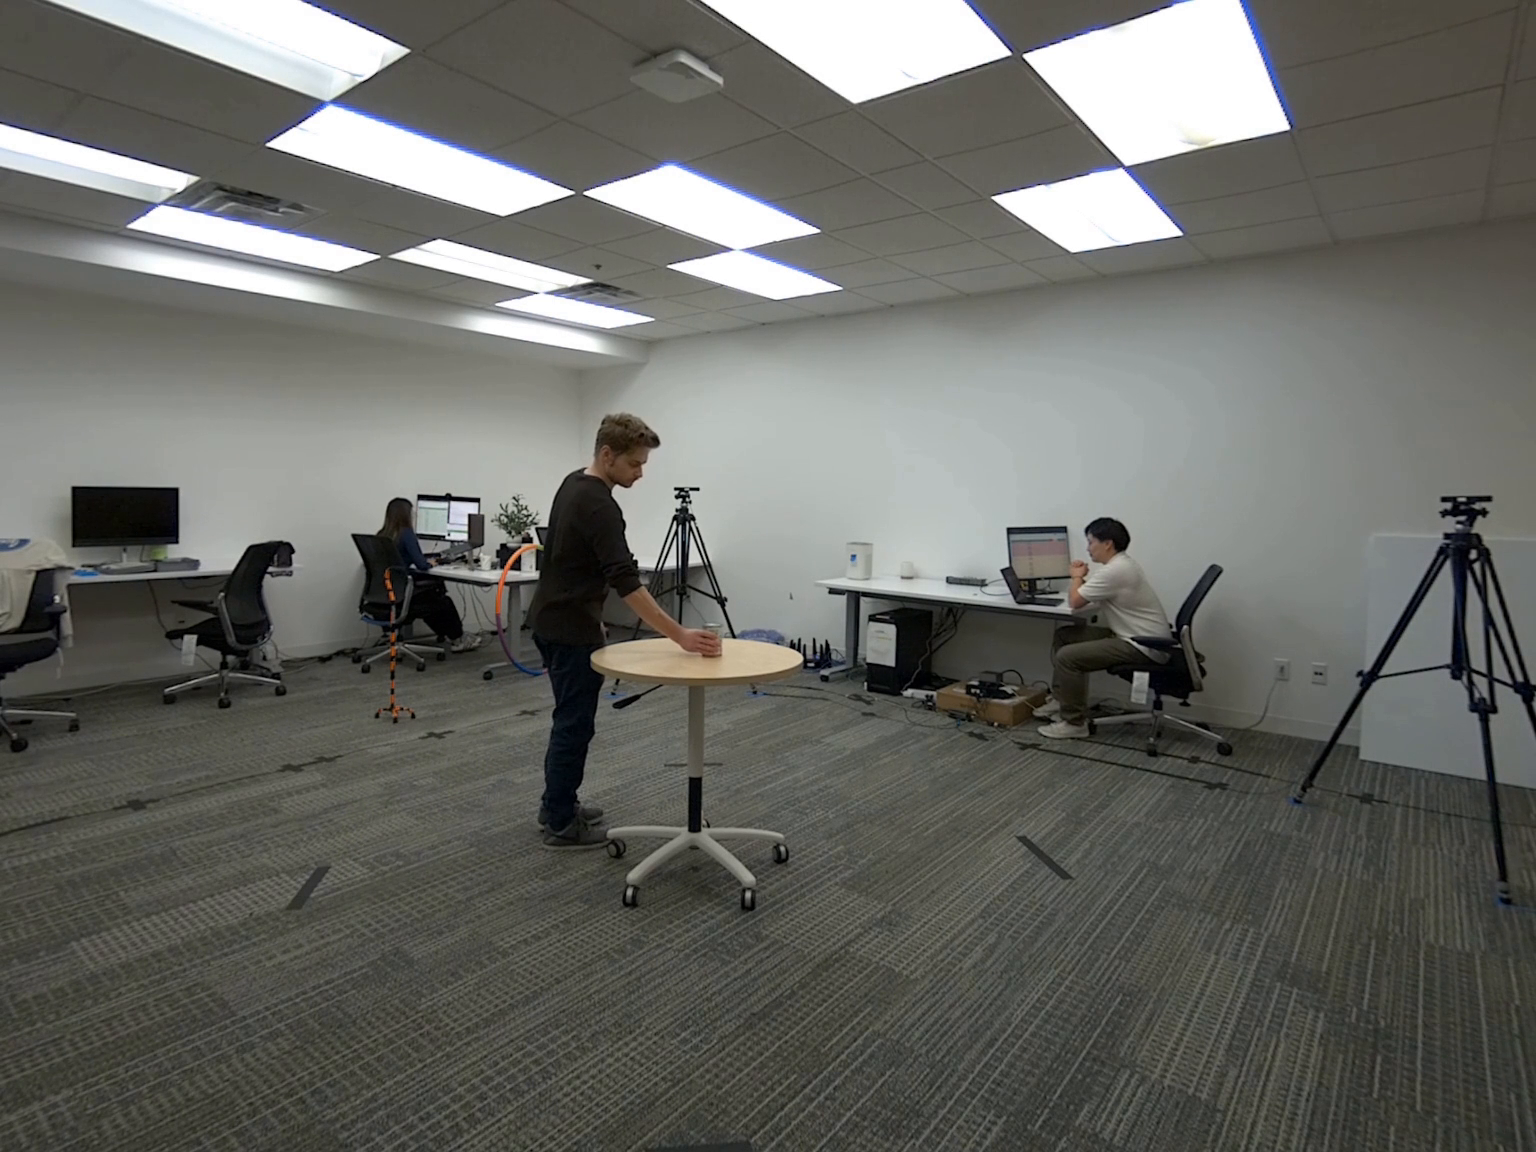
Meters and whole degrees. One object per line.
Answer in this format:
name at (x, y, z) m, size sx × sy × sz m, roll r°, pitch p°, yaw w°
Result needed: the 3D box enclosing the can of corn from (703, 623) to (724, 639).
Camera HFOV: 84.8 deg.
can of corn at (-0.213, 0.234, 3.063) m, size 0.074 × 0.110 × 0.074 m, roll -1°, pitch 5°, yaw -2°
